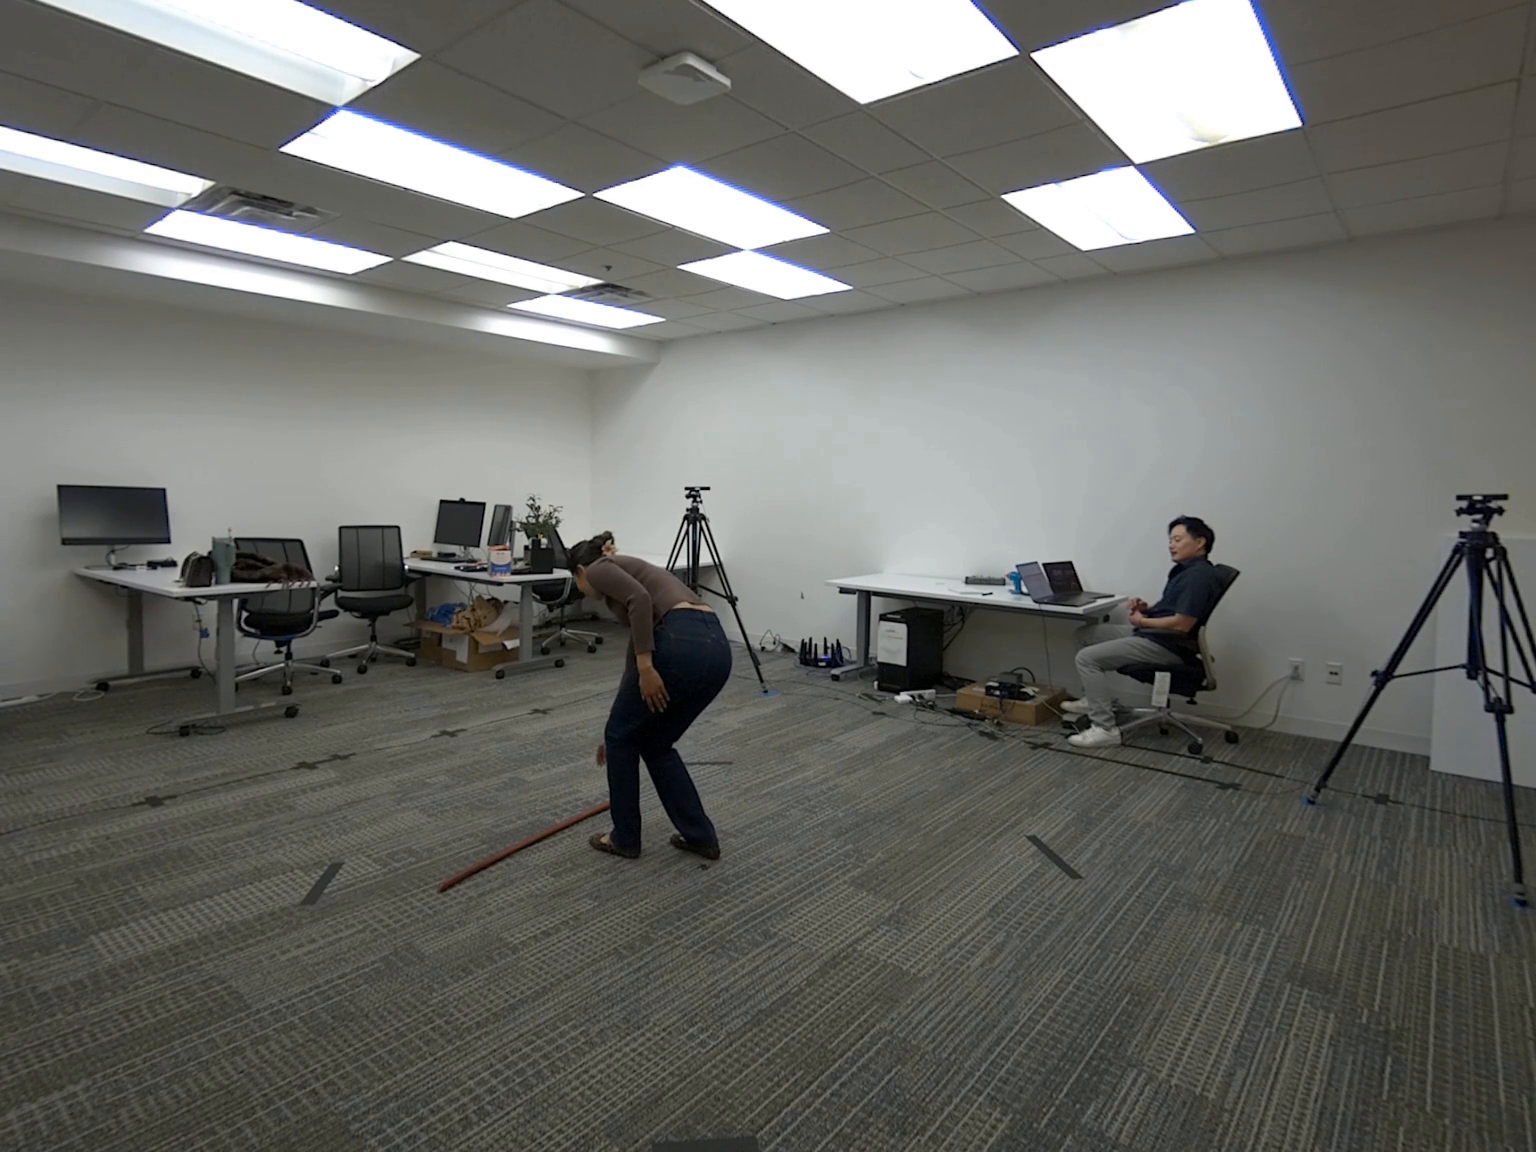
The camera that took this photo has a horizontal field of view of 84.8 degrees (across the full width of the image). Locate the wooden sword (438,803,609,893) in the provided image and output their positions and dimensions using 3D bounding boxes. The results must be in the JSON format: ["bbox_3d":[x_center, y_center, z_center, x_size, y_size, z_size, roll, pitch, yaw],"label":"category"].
[{"bbox_3d":[-0.888,1.012,3.341,0.053,0.024,1.000,0,5,29],"label":"wooden sword"}]
